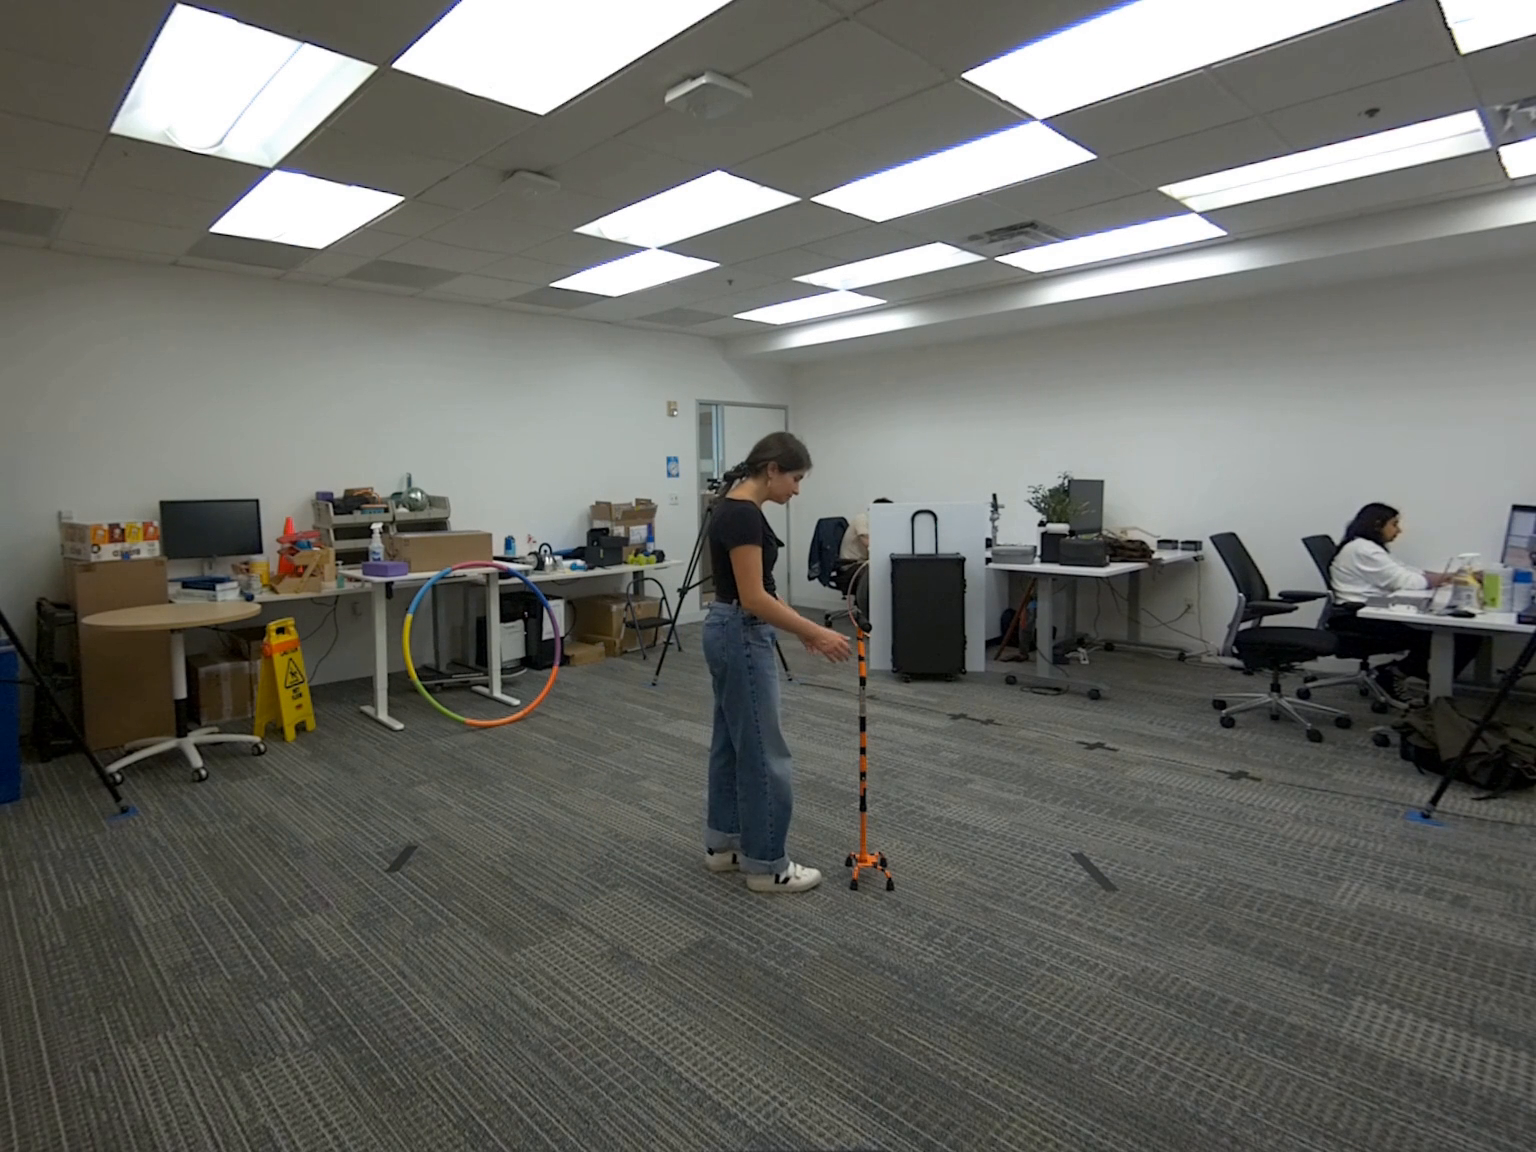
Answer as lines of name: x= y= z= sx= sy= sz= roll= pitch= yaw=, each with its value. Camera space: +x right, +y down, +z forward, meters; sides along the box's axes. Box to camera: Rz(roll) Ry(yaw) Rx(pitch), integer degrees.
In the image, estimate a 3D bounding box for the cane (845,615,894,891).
cane: x=0.343 y=0.597 z=2.957 sx=0.152 sy=0.905 sz=0.207 roll=-1 pitch=3 yaw=1
